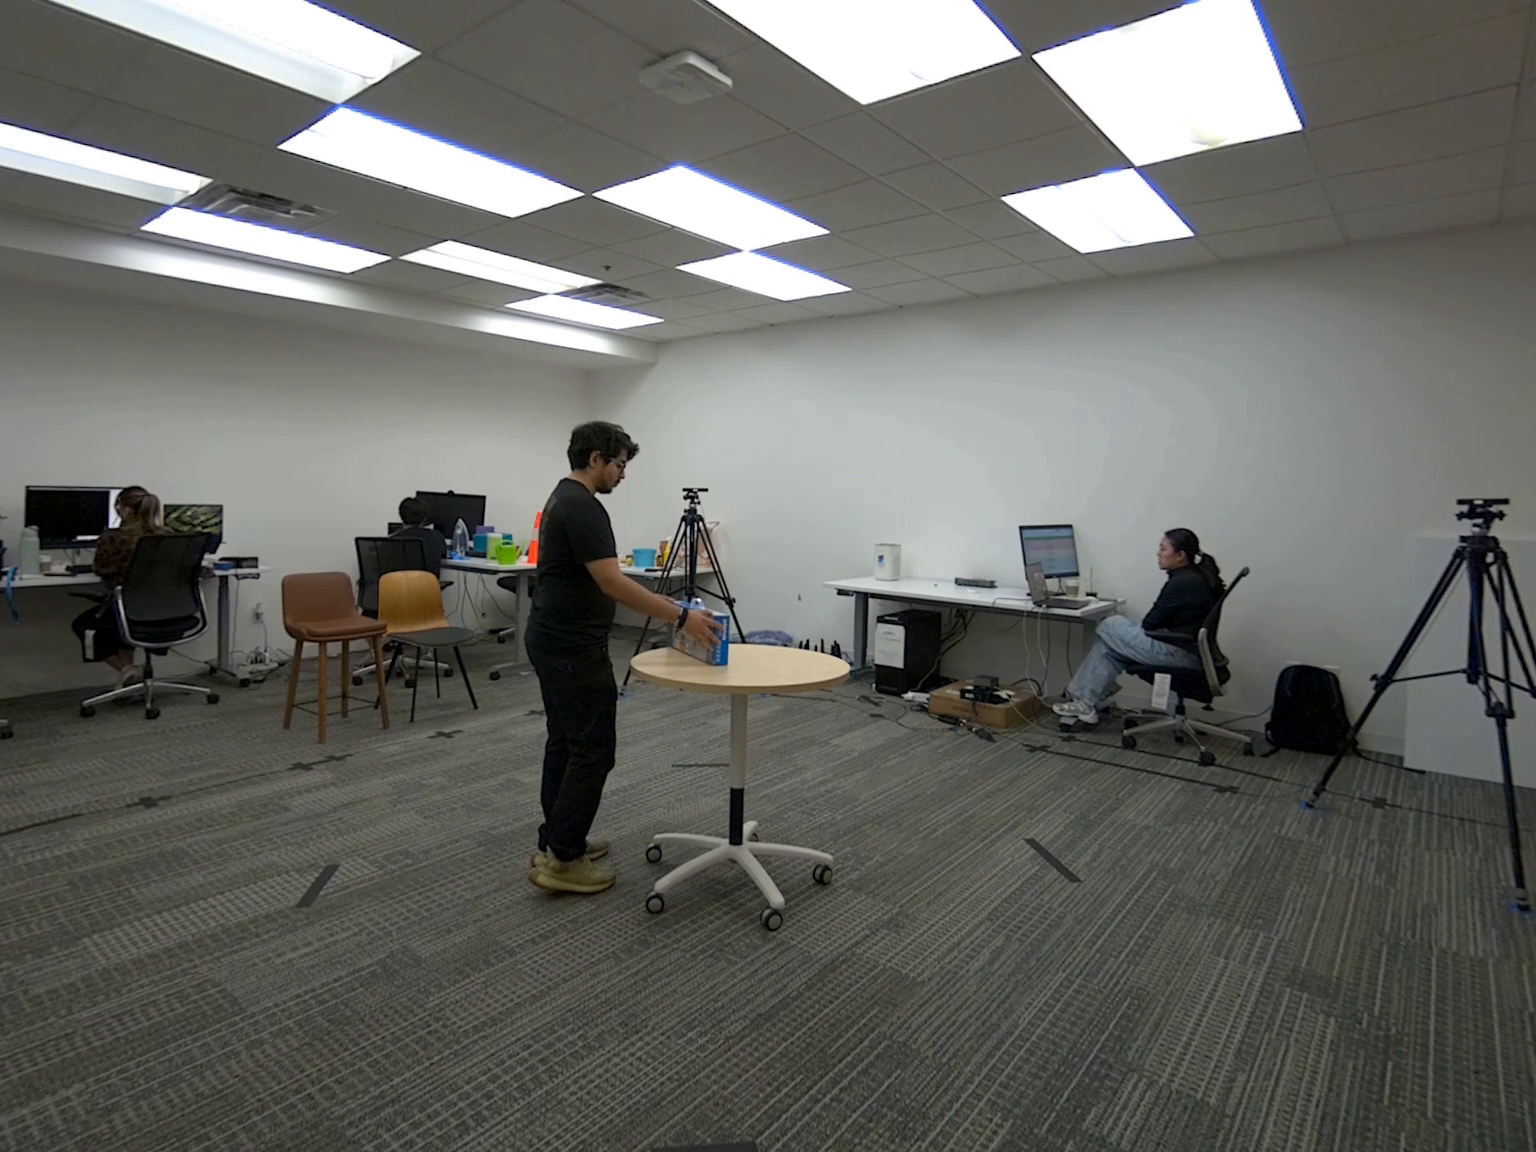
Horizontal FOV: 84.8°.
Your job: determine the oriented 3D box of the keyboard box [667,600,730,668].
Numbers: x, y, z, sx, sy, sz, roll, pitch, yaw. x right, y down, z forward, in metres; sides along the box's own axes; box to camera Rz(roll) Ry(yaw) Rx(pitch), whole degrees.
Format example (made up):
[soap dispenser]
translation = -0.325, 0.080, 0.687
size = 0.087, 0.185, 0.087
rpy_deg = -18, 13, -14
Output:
[keyboard box]
translation = -0.264, 0.204, 3.097
size = 0.058, 0.175, 0.449
rpy_deg = 0, 5, -27
